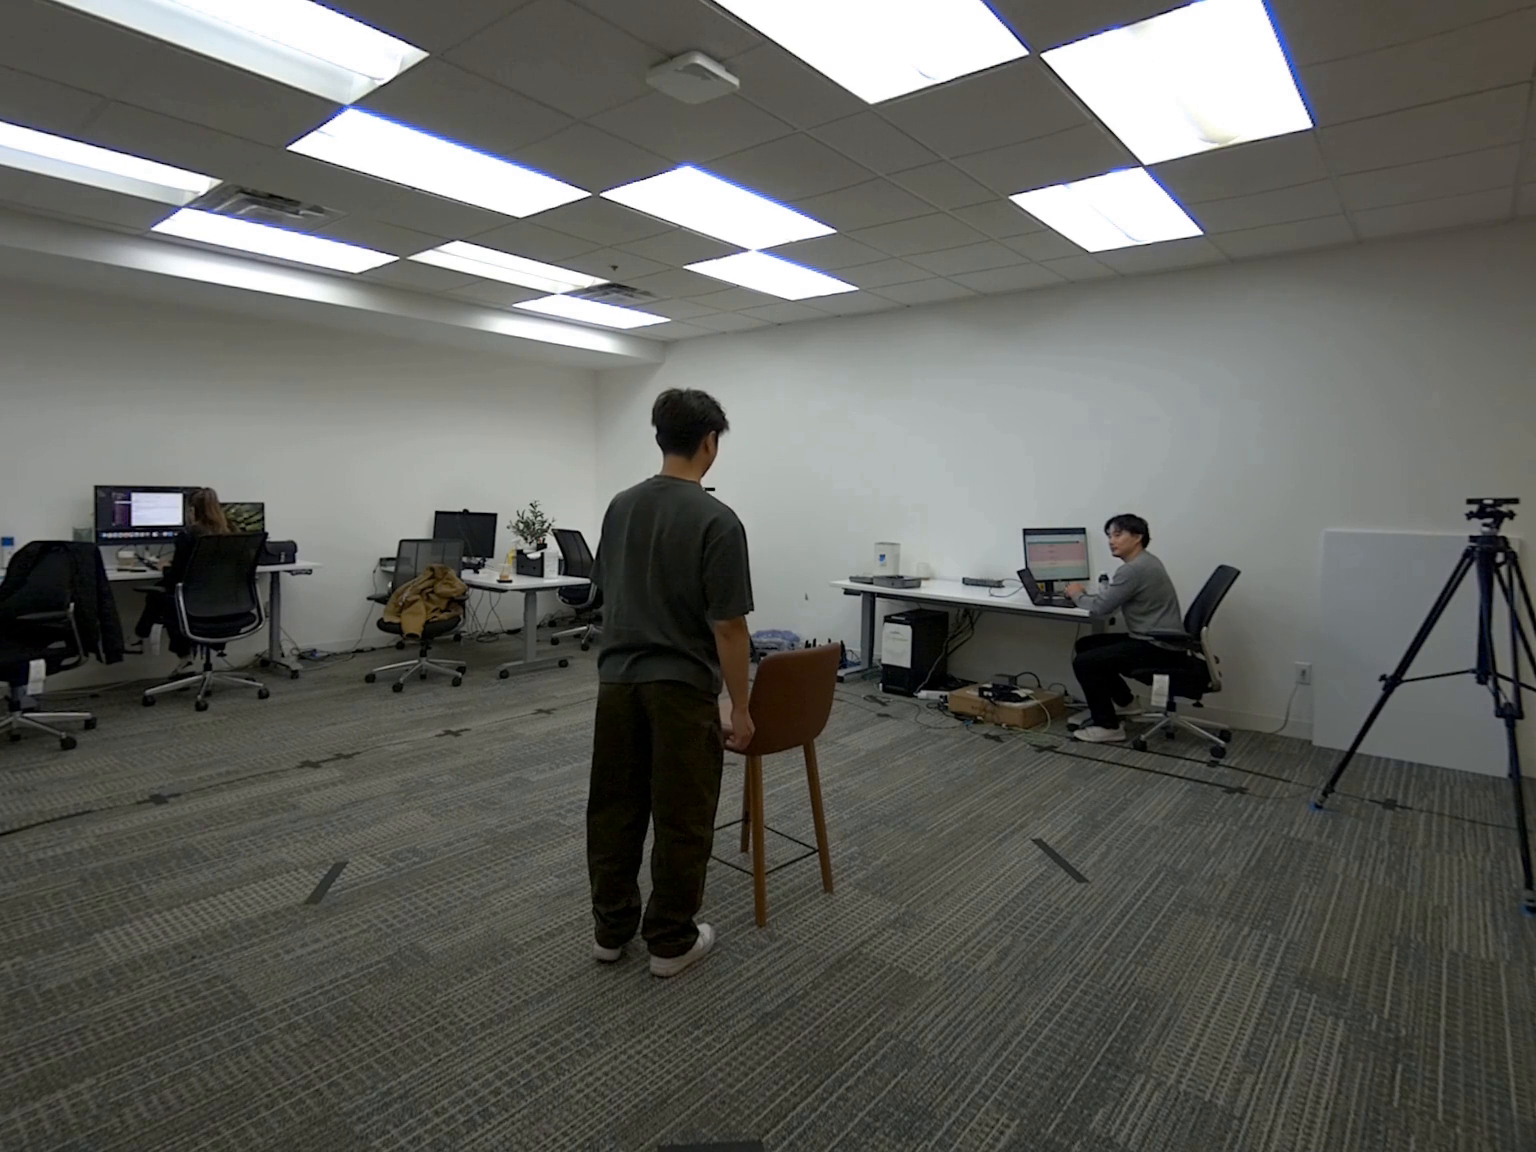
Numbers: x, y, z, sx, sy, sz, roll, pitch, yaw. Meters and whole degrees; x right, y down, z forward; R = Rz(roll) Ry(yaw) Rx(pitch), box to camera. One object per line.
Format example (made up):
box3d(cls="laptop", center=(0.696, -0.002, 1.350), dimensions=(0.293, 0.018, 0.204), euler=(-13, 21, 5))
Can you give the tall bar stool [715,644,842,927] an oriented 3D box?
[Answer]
box3d(cls="tall bar stool", center=(-0.052, 0.651, 2.963), dimensions=(0.484, 0.887, 0.442), euler=(7, 6, 44))
